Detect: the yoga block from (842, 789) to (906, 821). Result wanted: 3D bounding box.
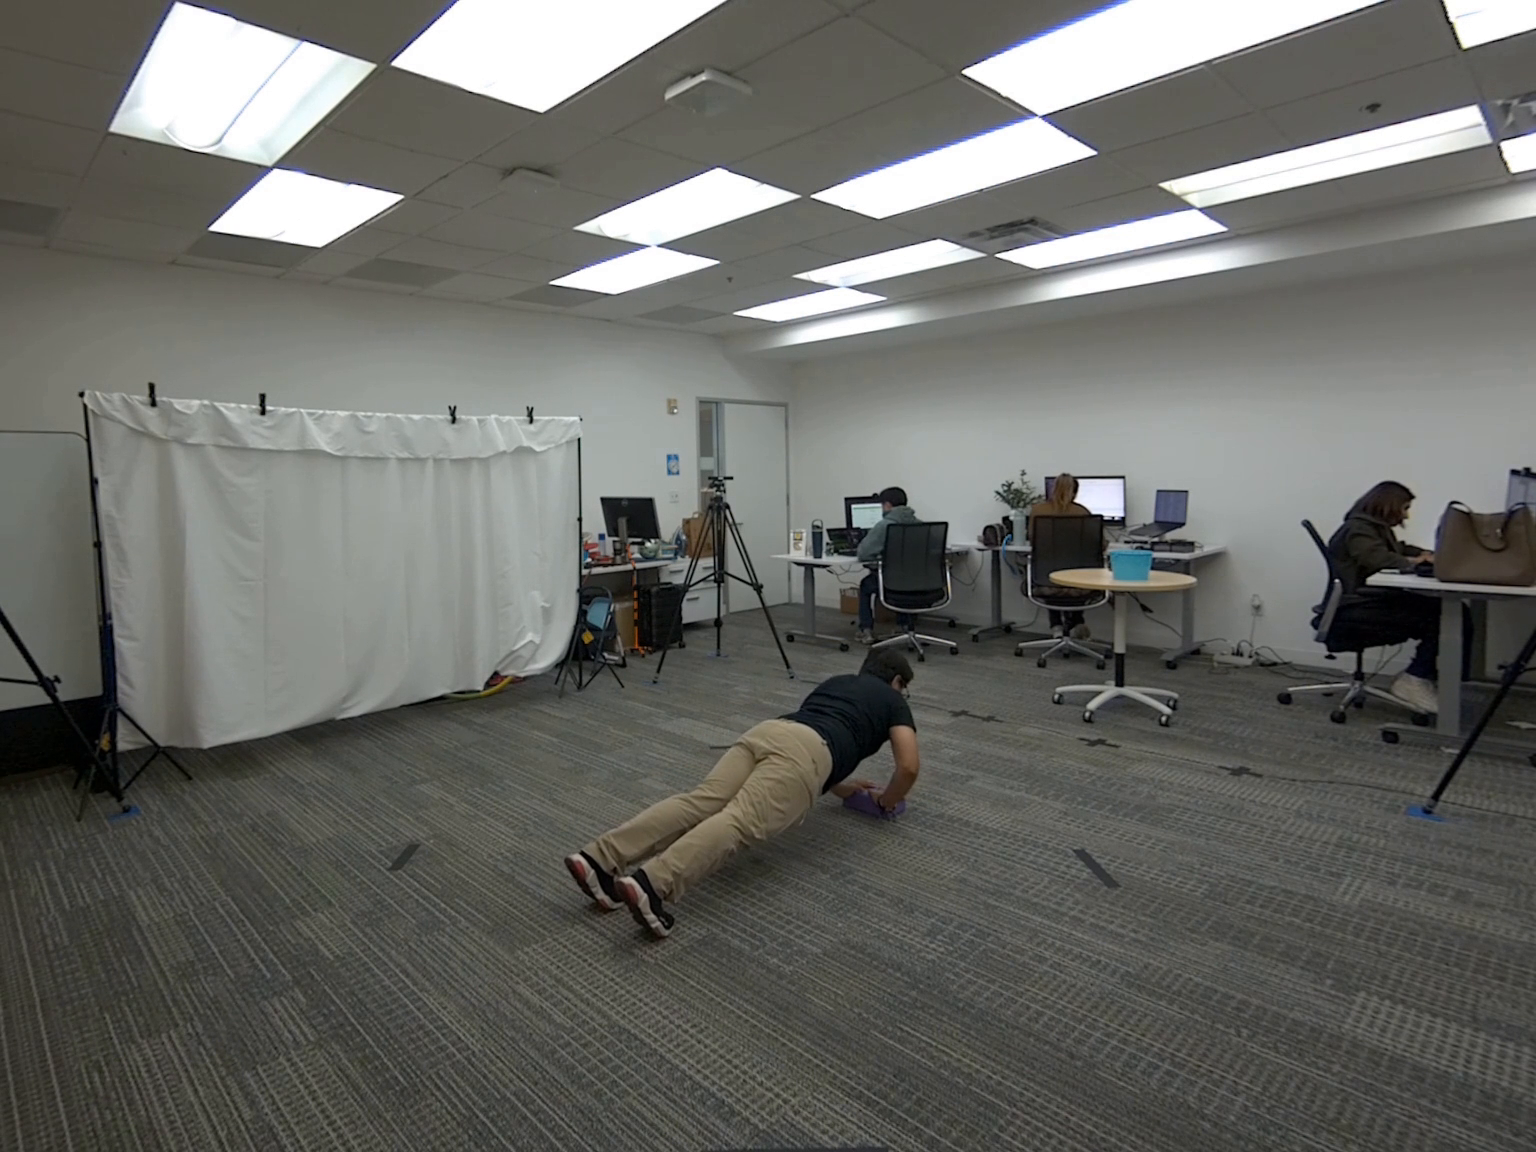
[{"bbox_3d":[0.449,0.937,3.586,0.236,0.076,0.145,5,8,43],"label":"yoga block"}]
